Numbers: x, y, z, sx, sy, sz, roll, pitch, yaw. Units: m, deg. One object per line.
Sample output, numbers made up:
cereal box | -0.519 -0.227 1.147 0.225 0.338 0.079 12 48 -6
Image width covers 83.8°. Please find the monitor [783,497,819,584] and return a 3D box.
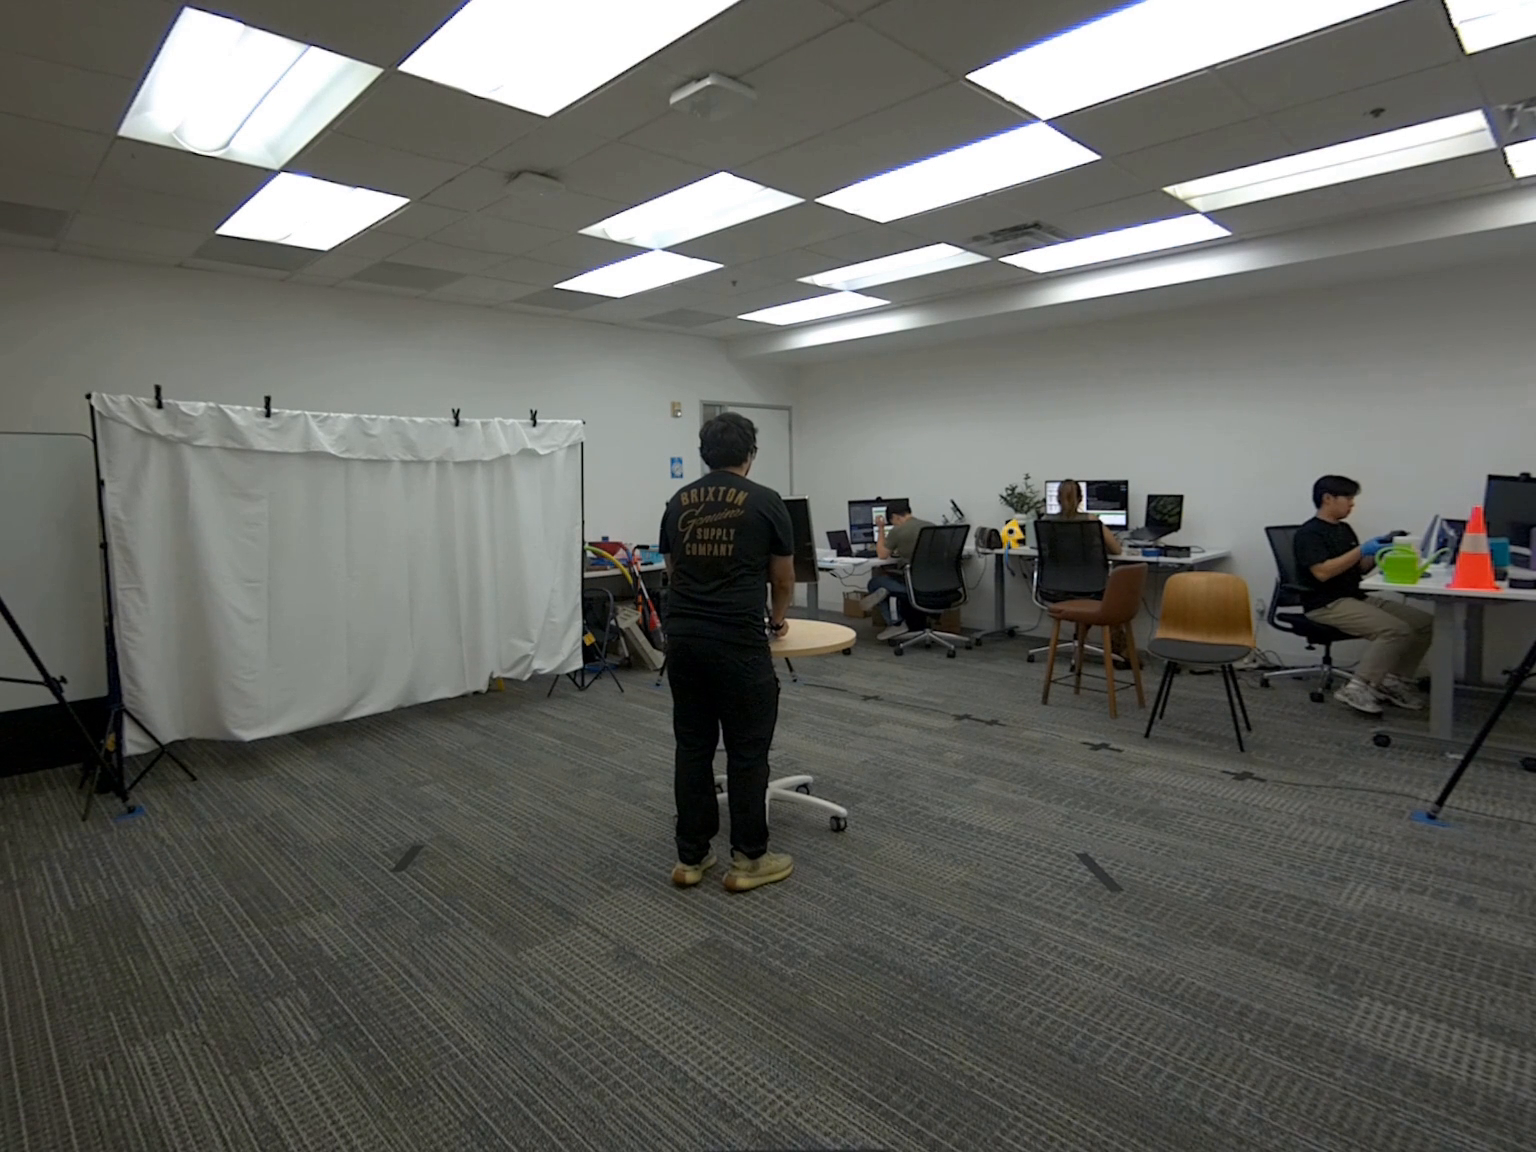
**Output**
monitor | -0.099 -0.023 3.248 0.575 0.543 0.210 0 21 18
